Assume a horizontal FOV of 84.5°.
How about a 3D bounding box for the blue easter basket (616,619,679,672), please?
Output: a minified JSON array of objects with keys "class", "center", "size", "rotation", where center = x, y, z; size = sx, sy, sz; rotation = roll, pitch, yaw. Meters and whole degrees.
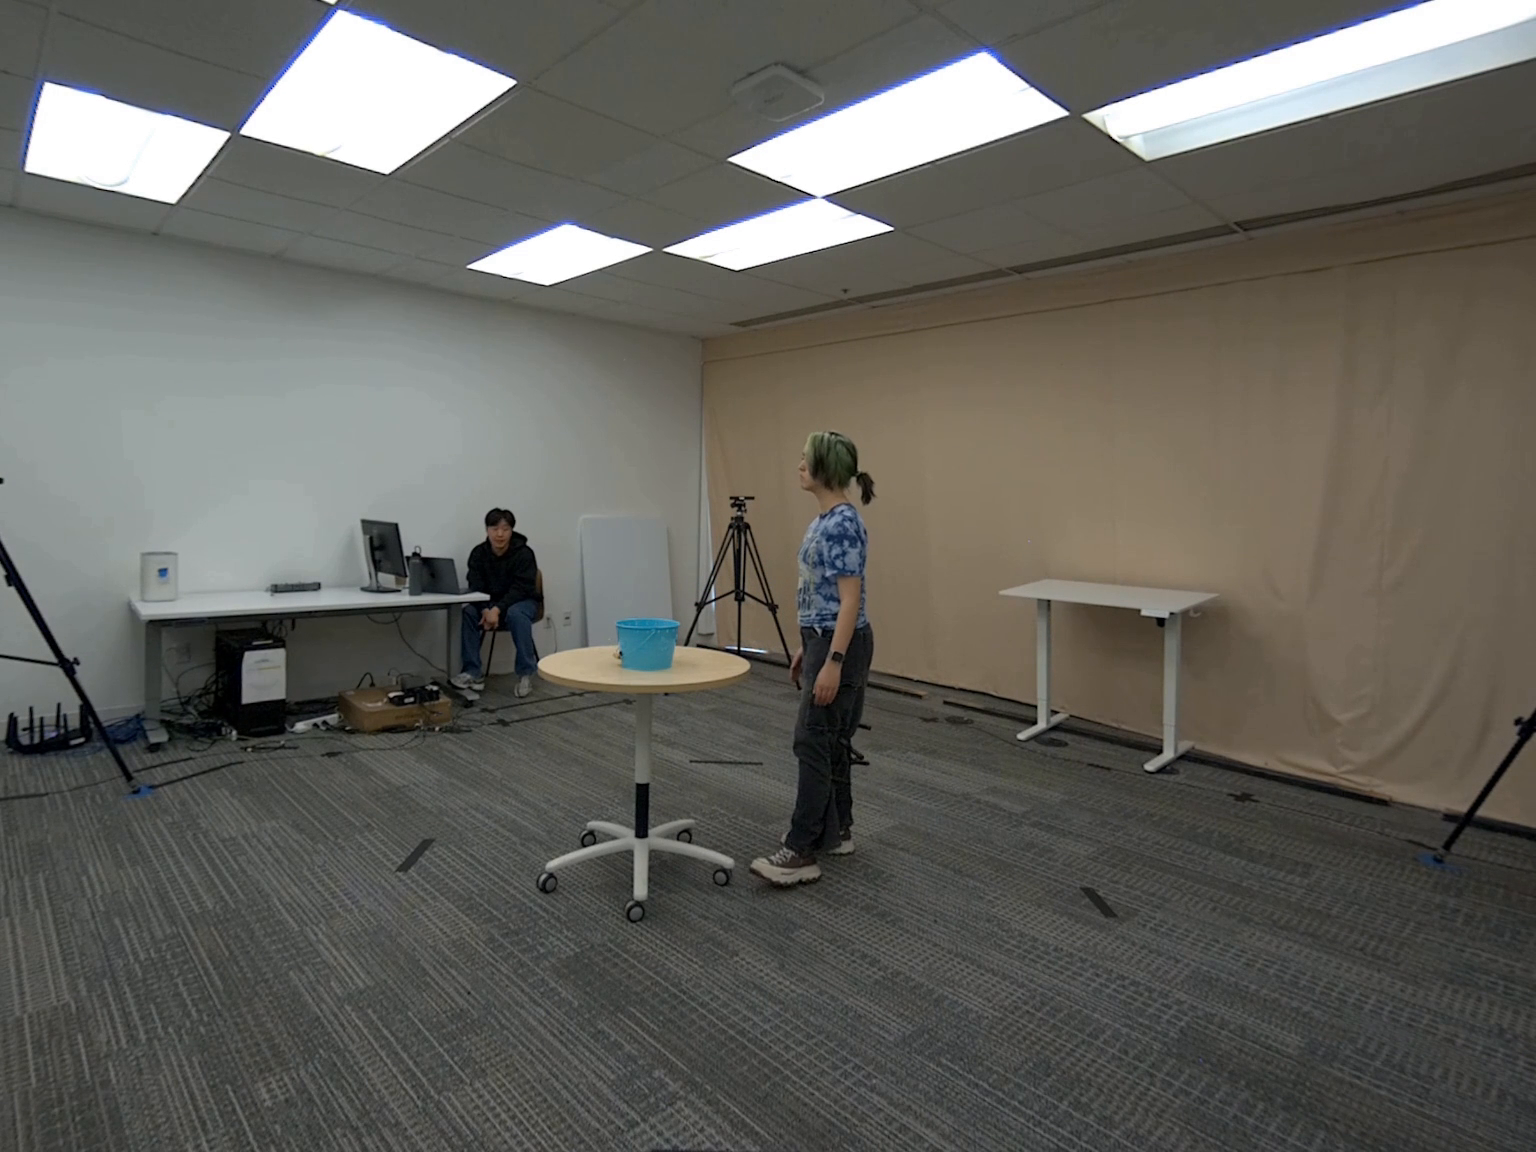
[{"class":"blue easter basket","center":[-0.450,0.247,3.004],"size":[0.243,0.155,0.244],"rotation":[1,5,-1]}]
